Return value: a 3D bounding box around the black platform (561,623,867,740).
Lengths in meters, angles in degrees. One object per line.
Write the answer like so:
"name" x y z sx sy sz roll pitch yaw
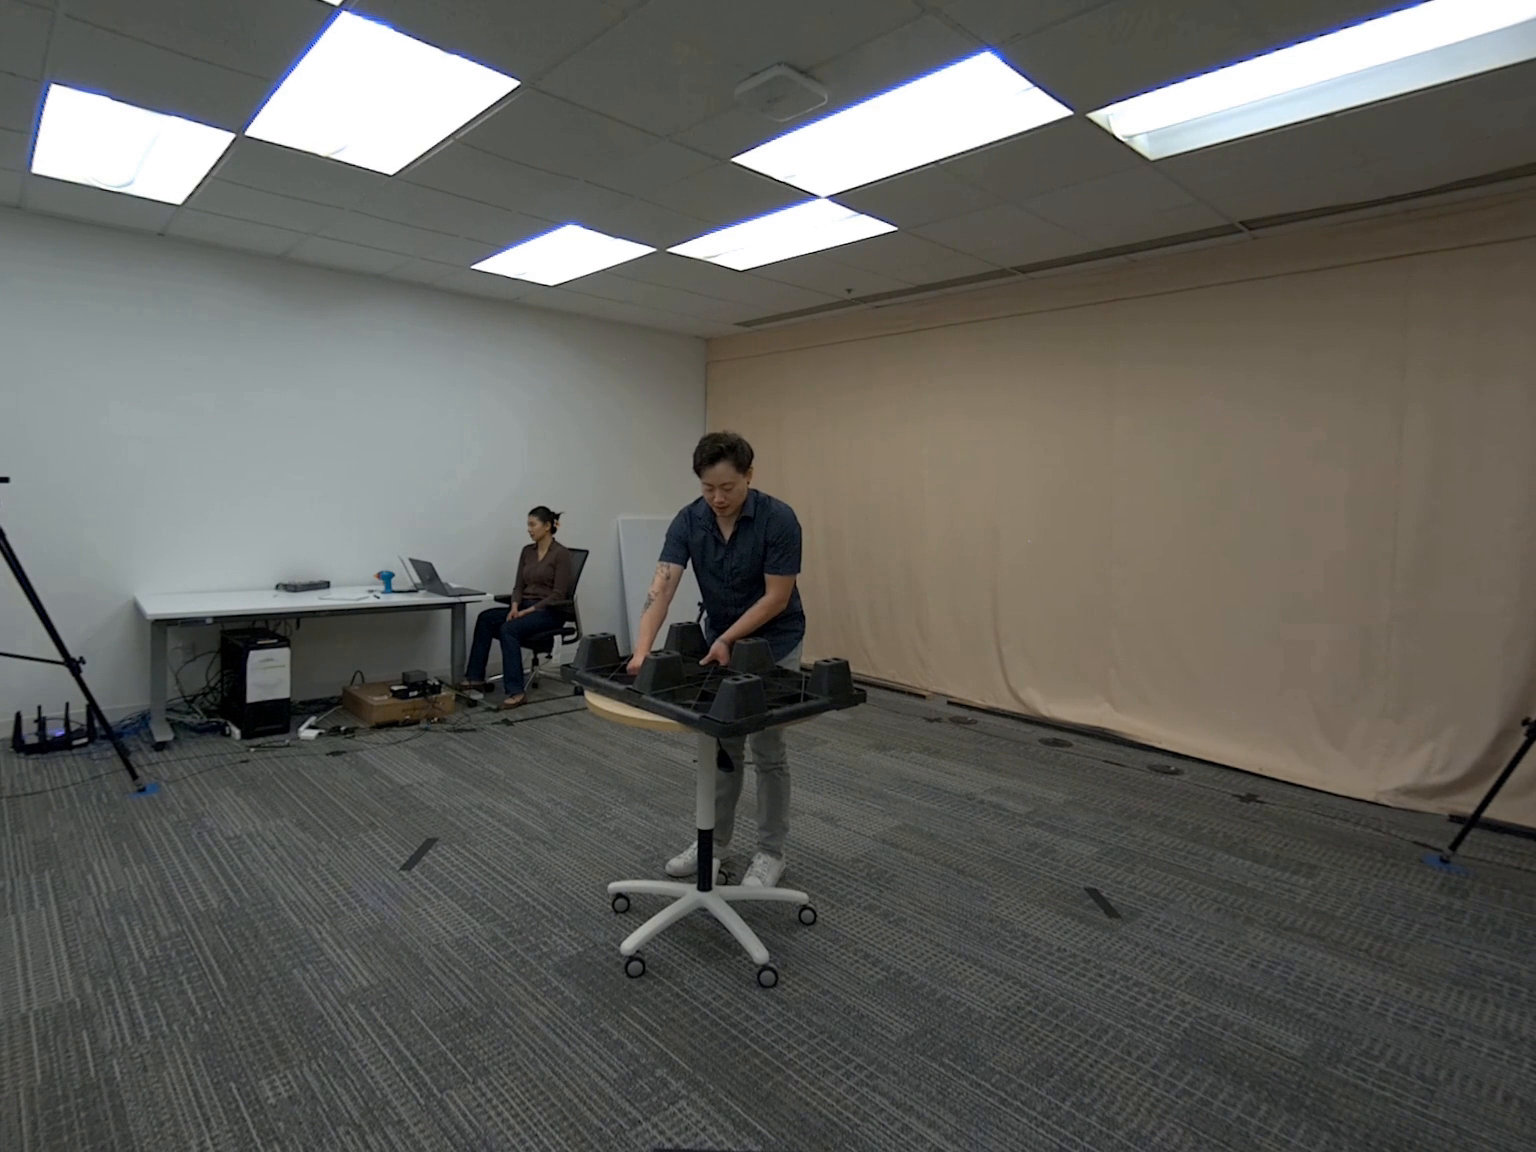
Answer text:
"black platform" -0.198 0.296 2.628 0.591 0.143 0.827 -5 9 -45
